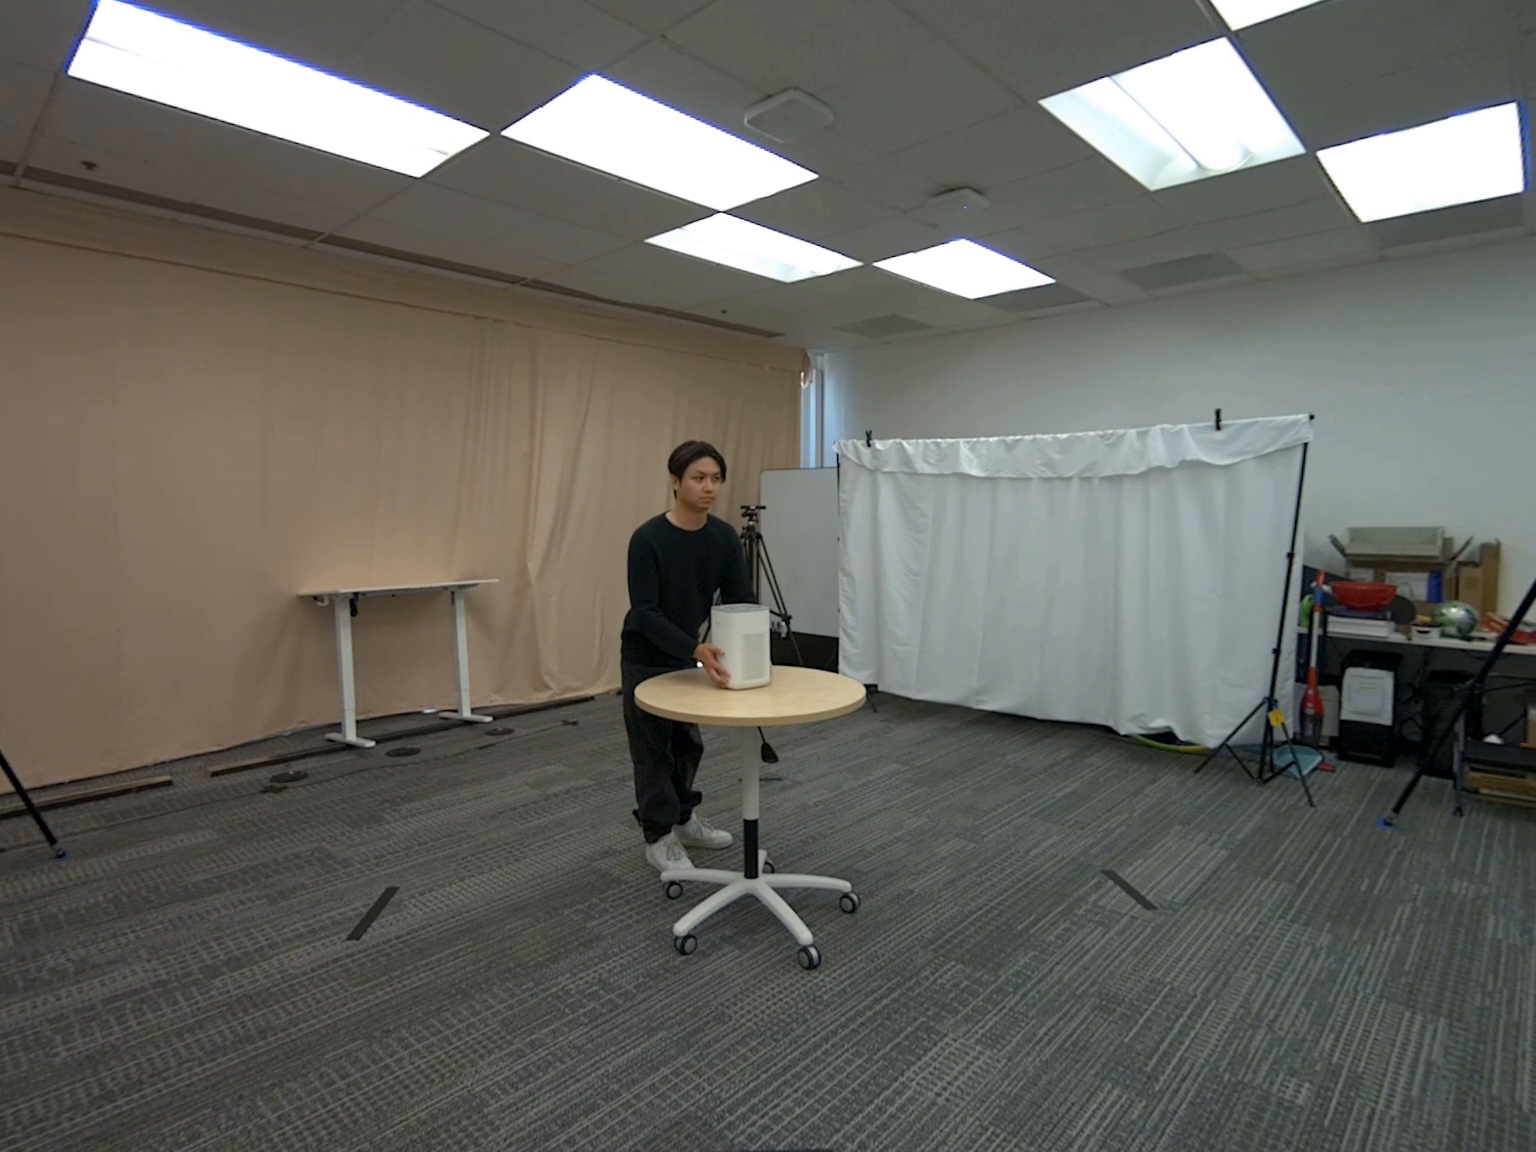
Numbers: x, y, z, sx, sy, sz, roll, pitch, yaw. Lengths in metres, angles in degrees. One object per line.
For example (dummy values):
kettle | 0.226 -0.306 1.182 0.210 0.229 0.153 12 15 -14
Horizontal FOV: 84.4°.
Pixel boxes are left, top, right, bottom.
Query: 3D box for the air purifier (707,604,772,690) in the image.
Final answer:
air purifier | -0.087 0.237 2.850 0.167 0.265 0.176 -3 4 -32
